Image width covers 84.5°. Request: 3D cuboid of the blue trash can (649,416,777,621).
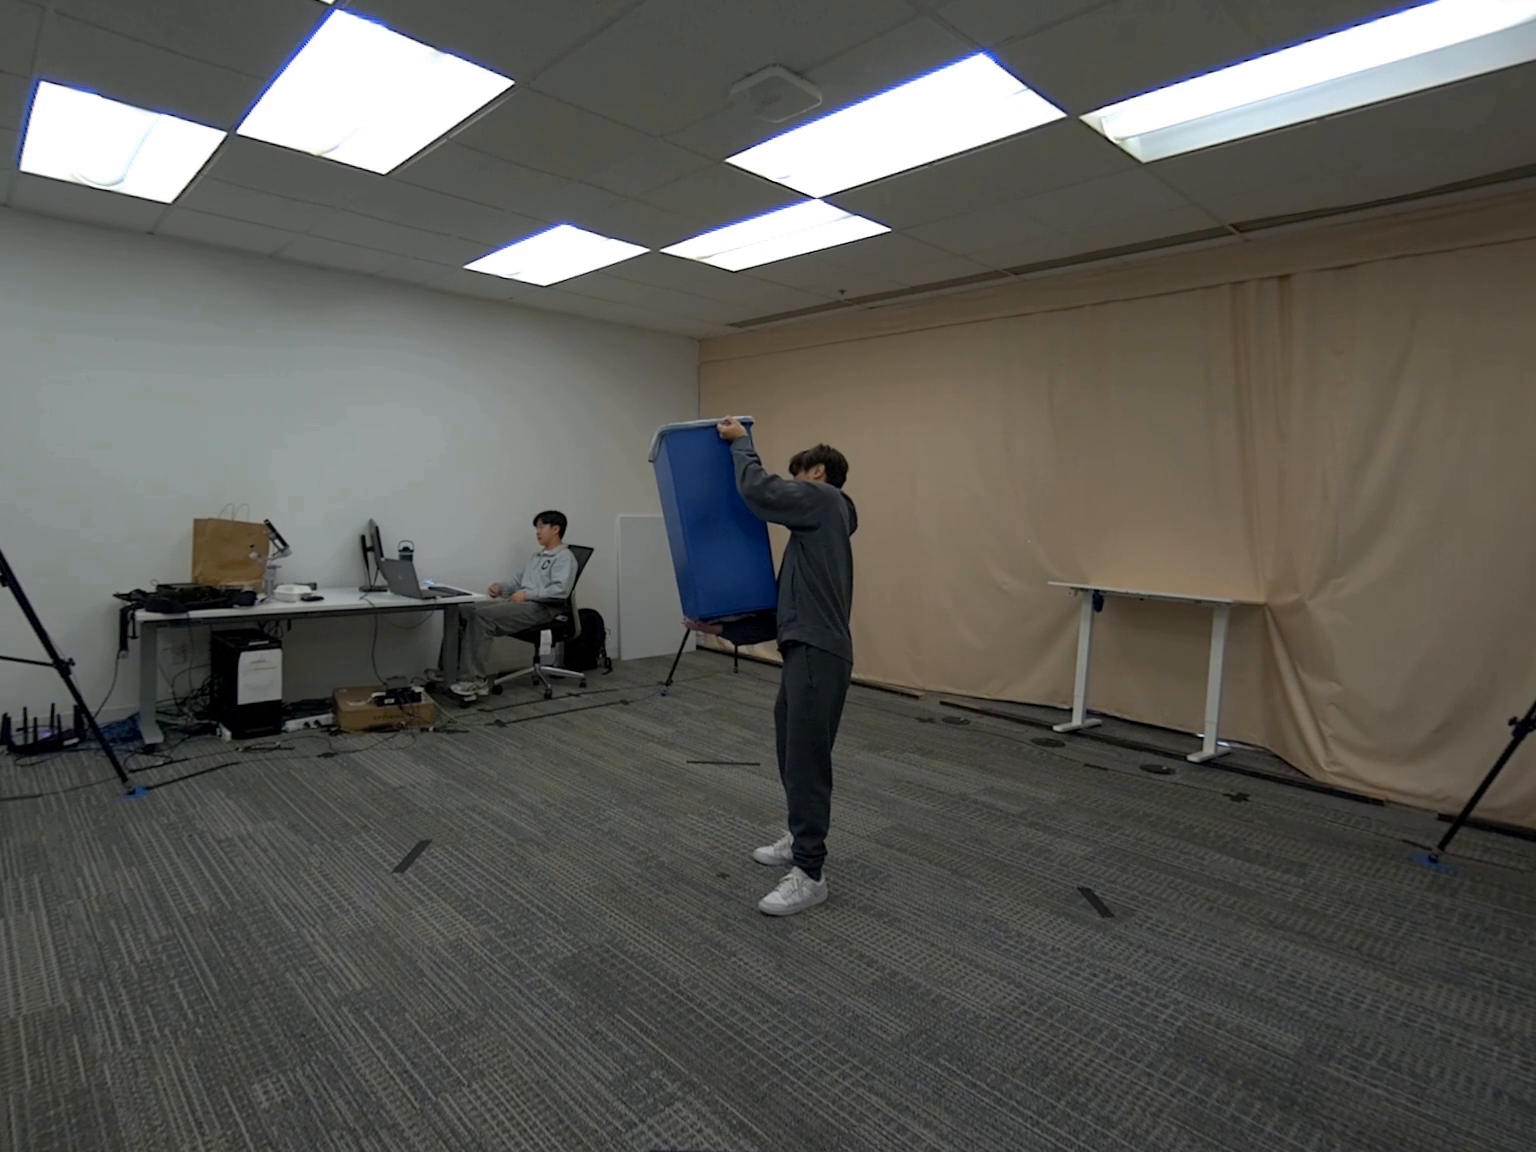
[{"bbox_3d":[-0.218,-0.193,3.195,0.370,0.720,0.378,-7,-10,-15],"label":"blue trash can"}]
